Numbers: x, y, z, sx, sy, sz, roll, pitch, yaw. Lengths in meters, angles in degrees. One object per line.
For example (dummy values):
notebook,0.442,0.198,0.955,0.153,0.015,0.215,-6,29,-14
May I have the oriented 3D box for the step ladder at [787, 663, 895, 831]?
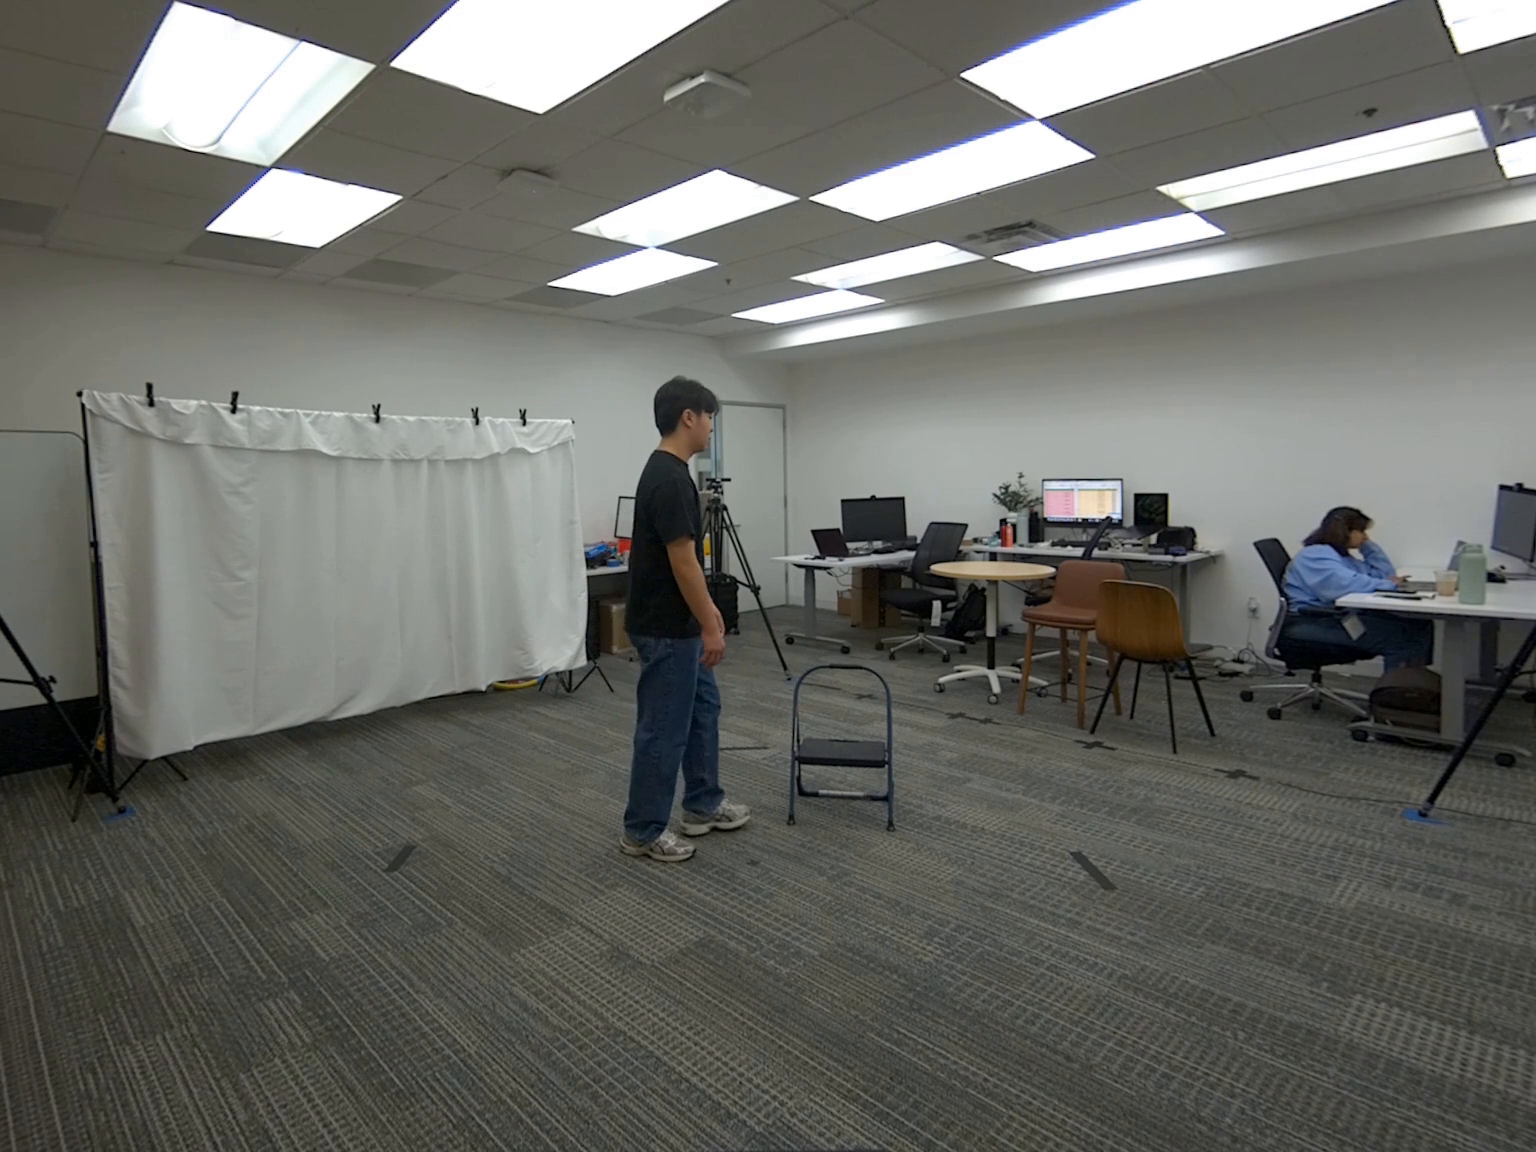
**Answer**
step ladder,0.312,0.684,3.554,0.435,0.604,0.347,1,4,9
